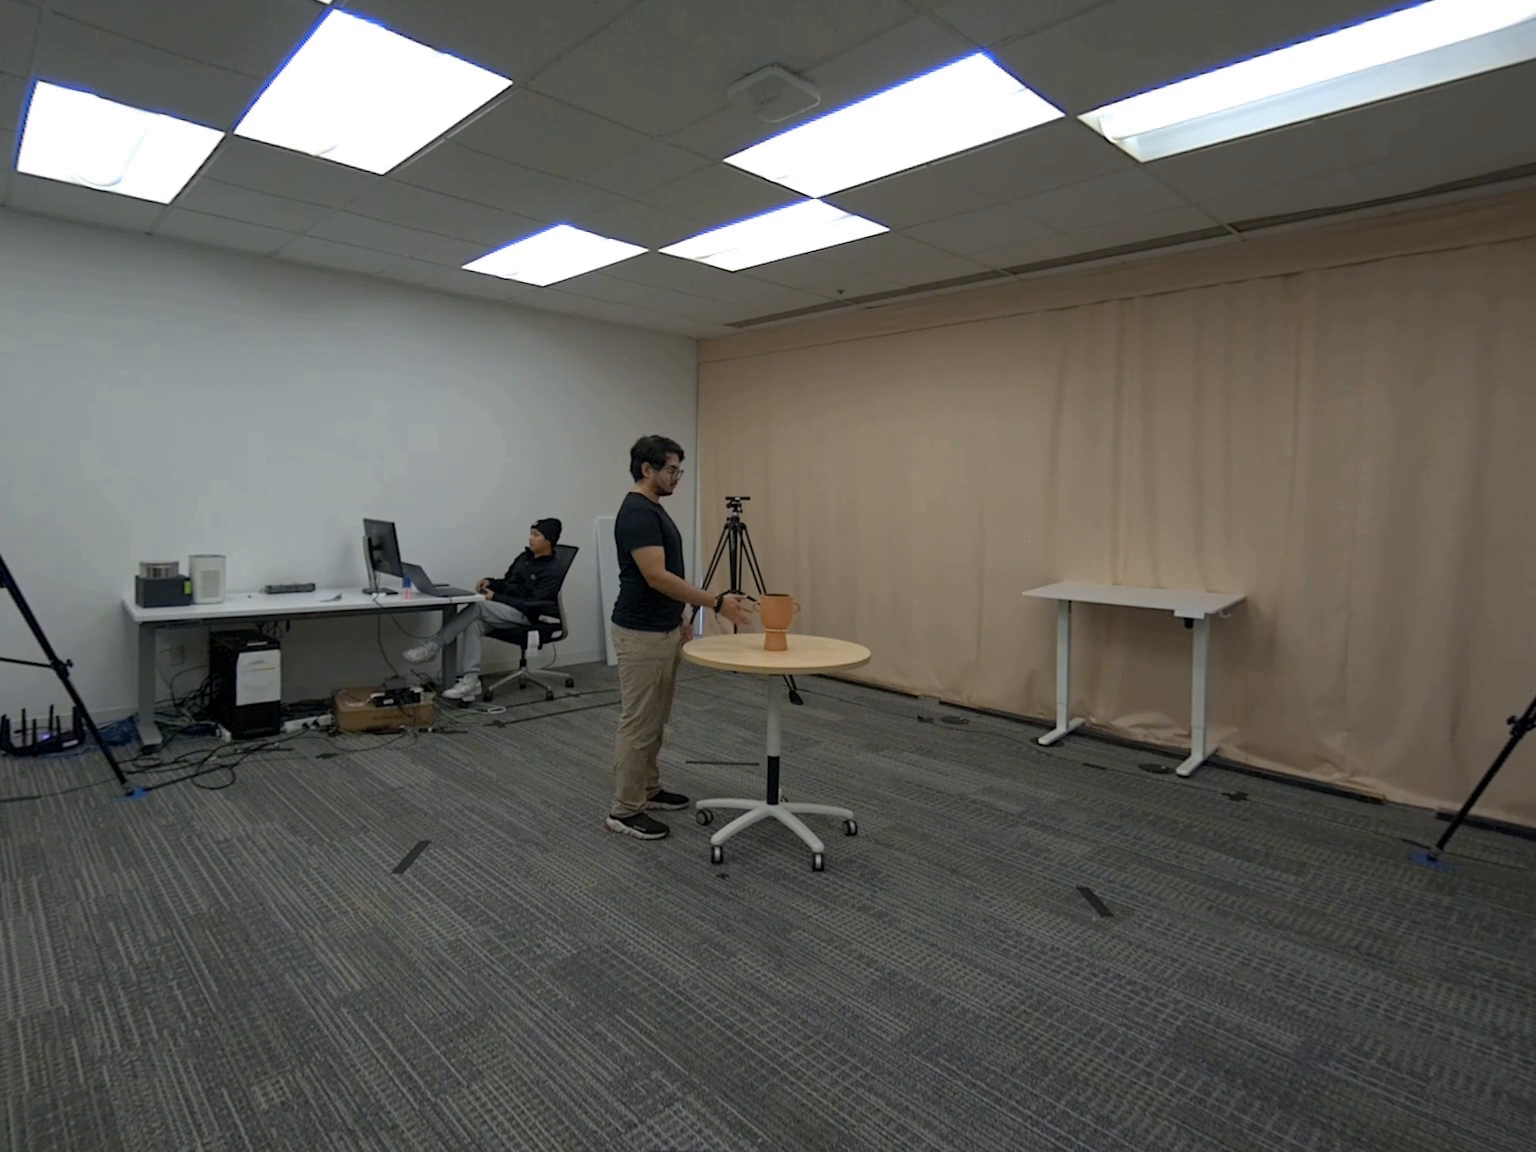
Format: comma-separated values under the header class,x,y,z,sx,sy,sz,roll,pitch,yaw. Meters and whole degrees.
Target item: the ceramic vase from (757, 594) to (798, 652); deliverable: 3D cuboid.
class,x,y,z,sx,sy,sz,roll,pitch,yaw
ceramic vase,0.022,0.188,3.428,0.163,0.219,0.131,5,6,44
